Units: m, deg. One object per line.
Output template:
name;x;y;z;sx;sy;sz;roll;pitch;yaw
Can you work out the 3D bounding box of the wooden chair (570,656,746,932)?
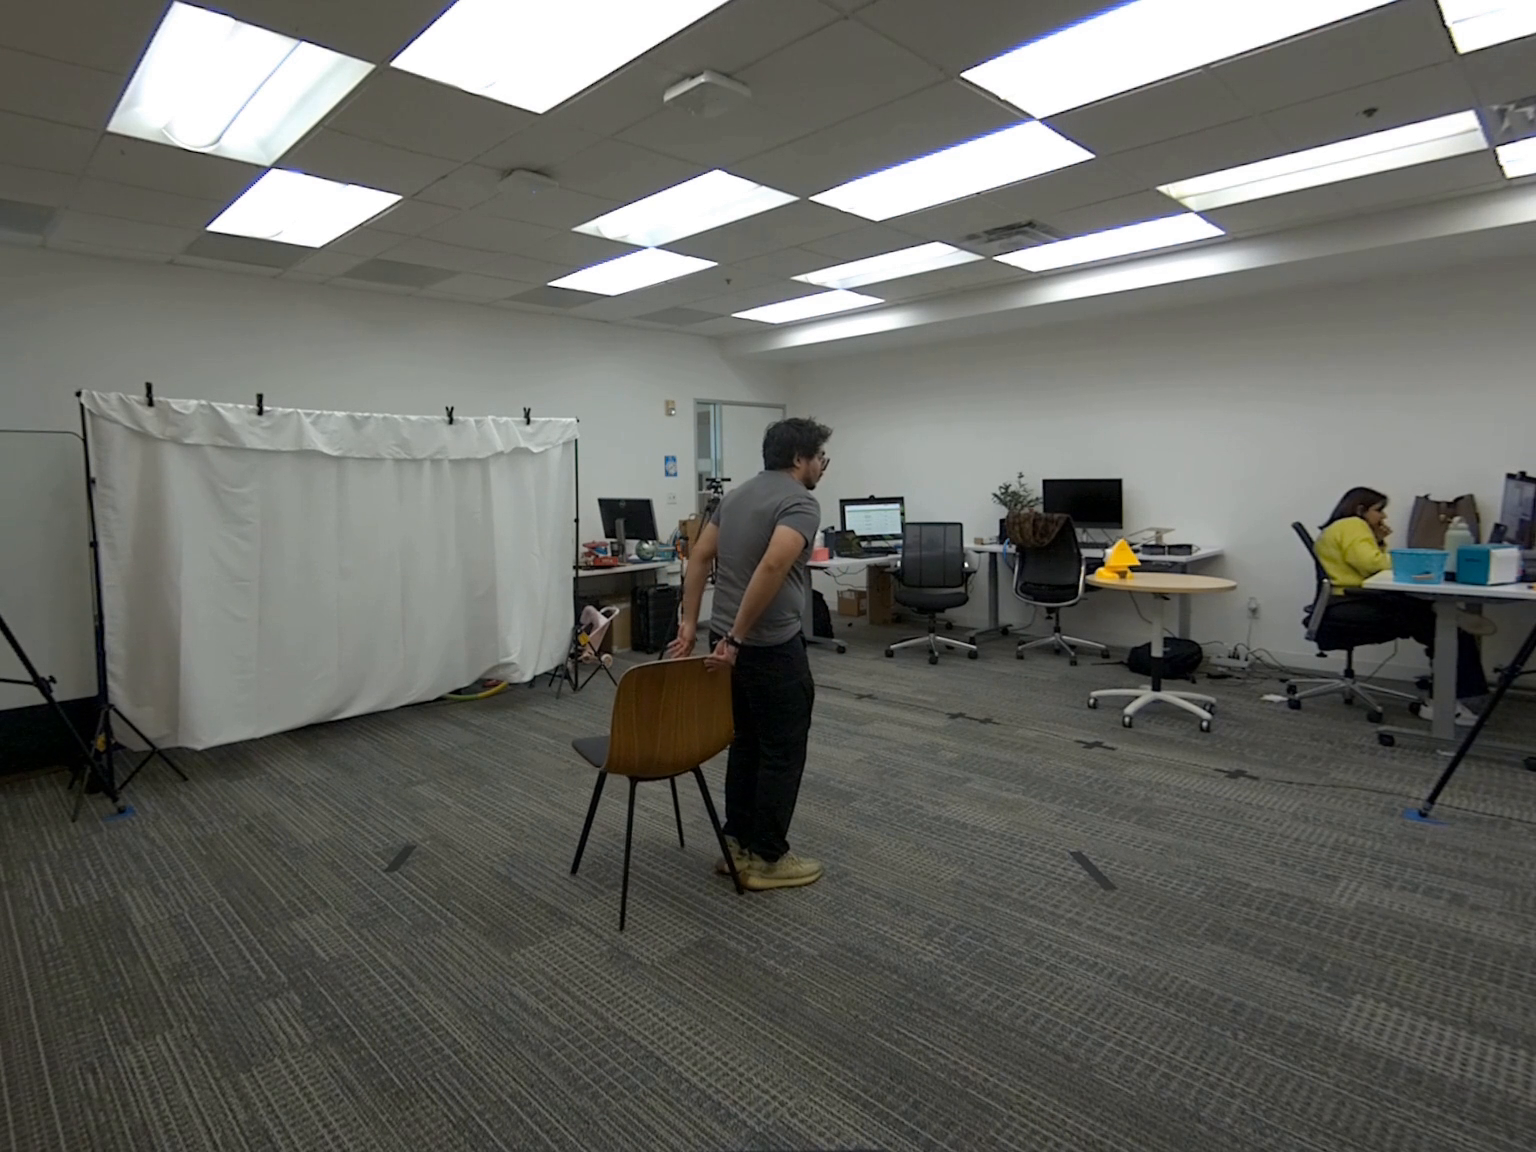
wooden chair;-0.403;0.644;2.925;0.467;0.871;0.540;-4;10;-32
